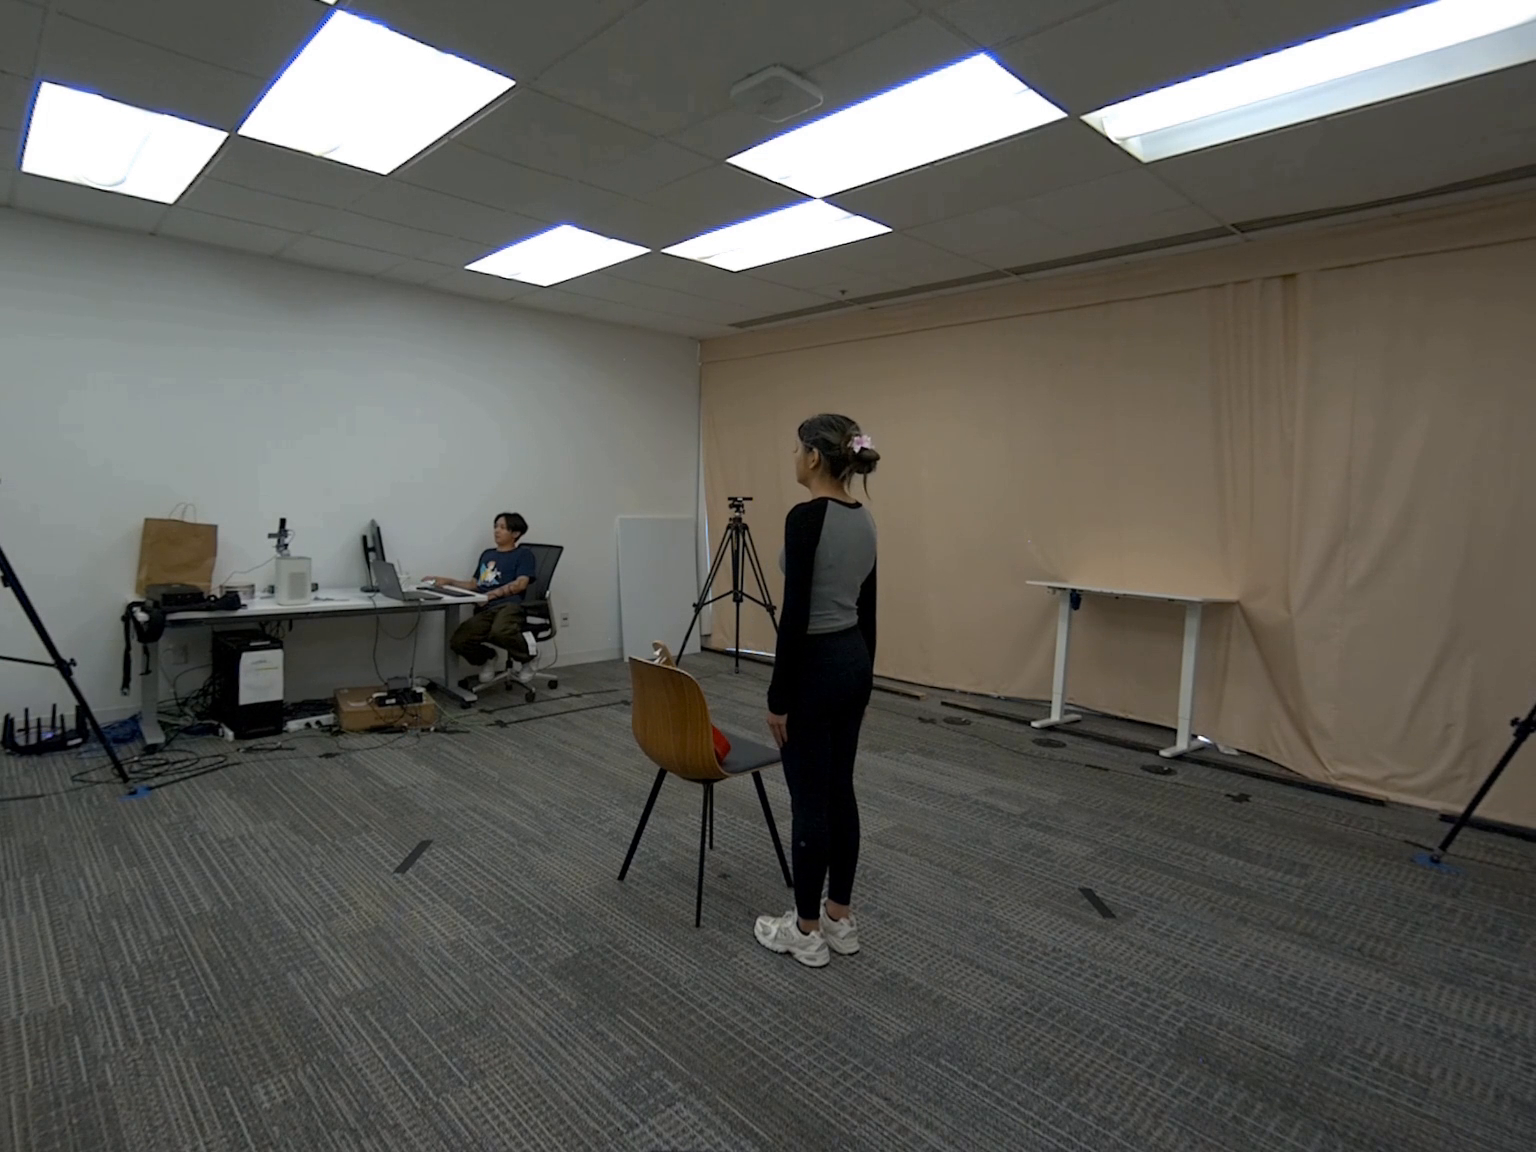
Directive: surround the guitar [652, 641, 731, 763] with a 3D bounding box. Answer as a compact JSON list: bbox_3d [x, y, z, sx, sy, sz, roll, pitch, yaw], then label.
[{"bbox_3d":[-0.310,0.434,2.870,0.197,0.489,0.070,-10,27,48],"label":"guitar"}]
